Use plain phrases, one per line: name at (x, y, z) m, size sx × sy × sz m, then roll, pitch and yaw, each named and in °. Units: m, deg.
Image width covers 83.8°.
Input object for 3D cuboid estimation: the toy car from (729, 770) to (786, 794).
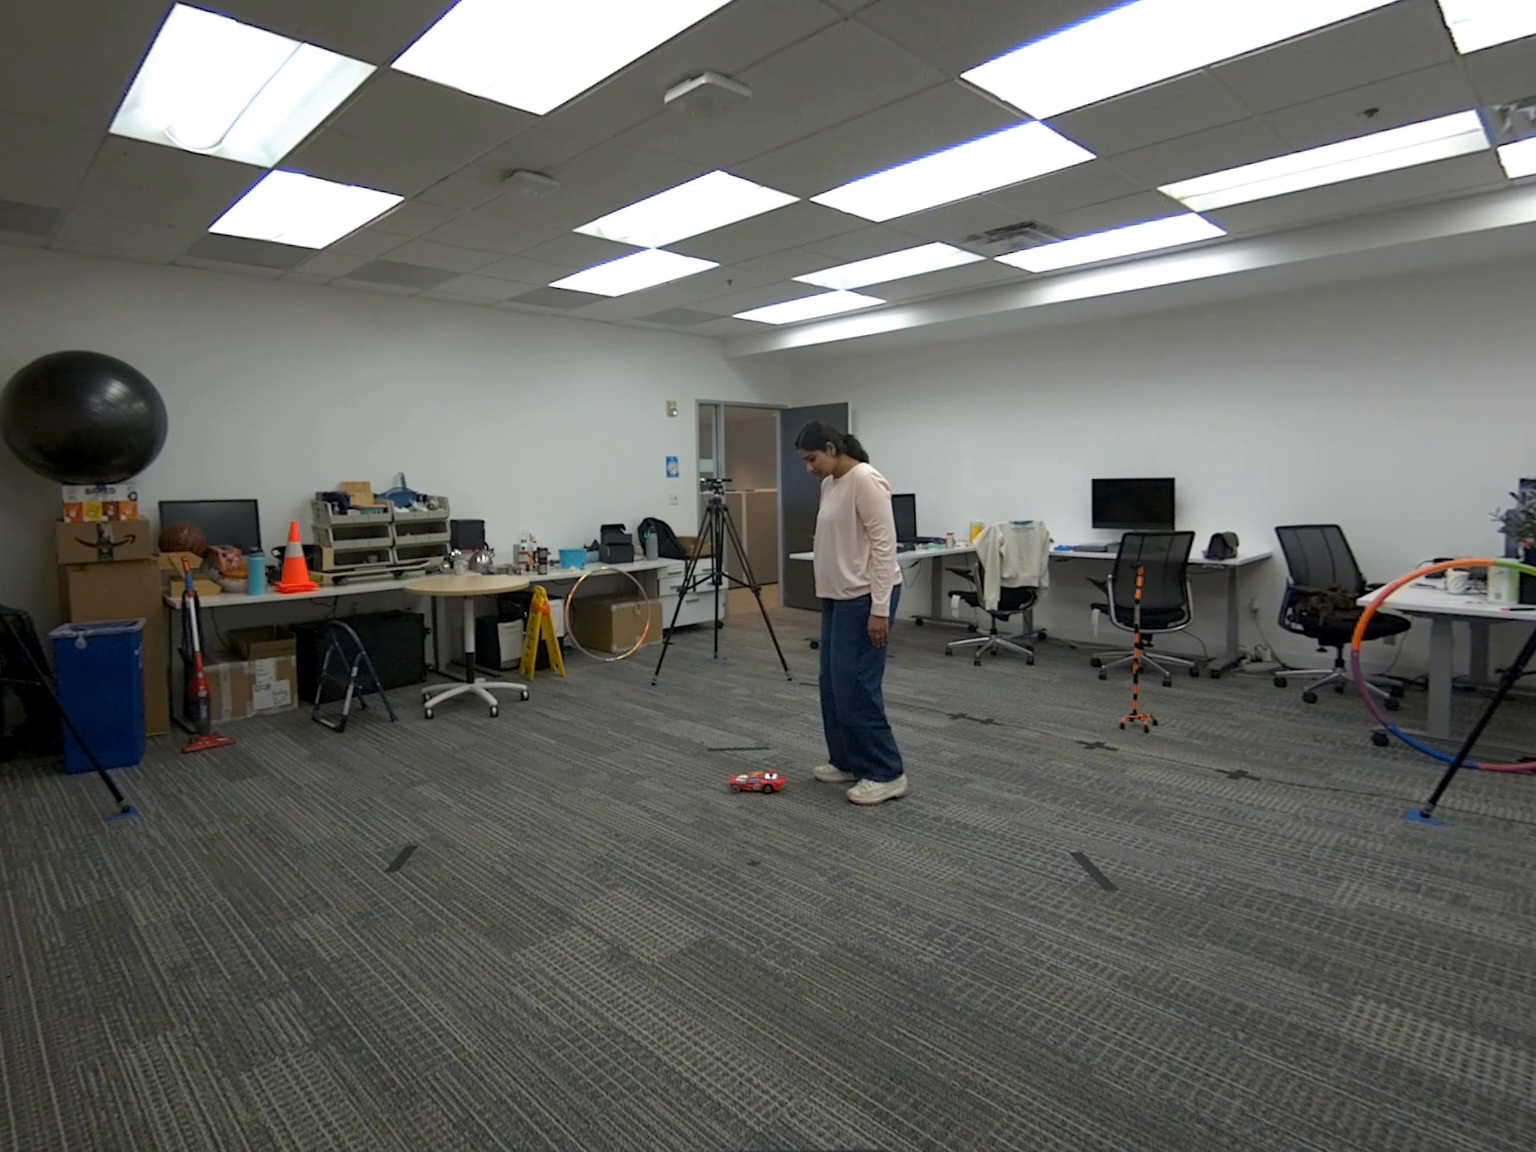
toy car at (-0.042, 0.931, 3.847) m, size 0.256 × 0.083 × 0.130 m, roll -13°, pitch 6°, yaw 10°
